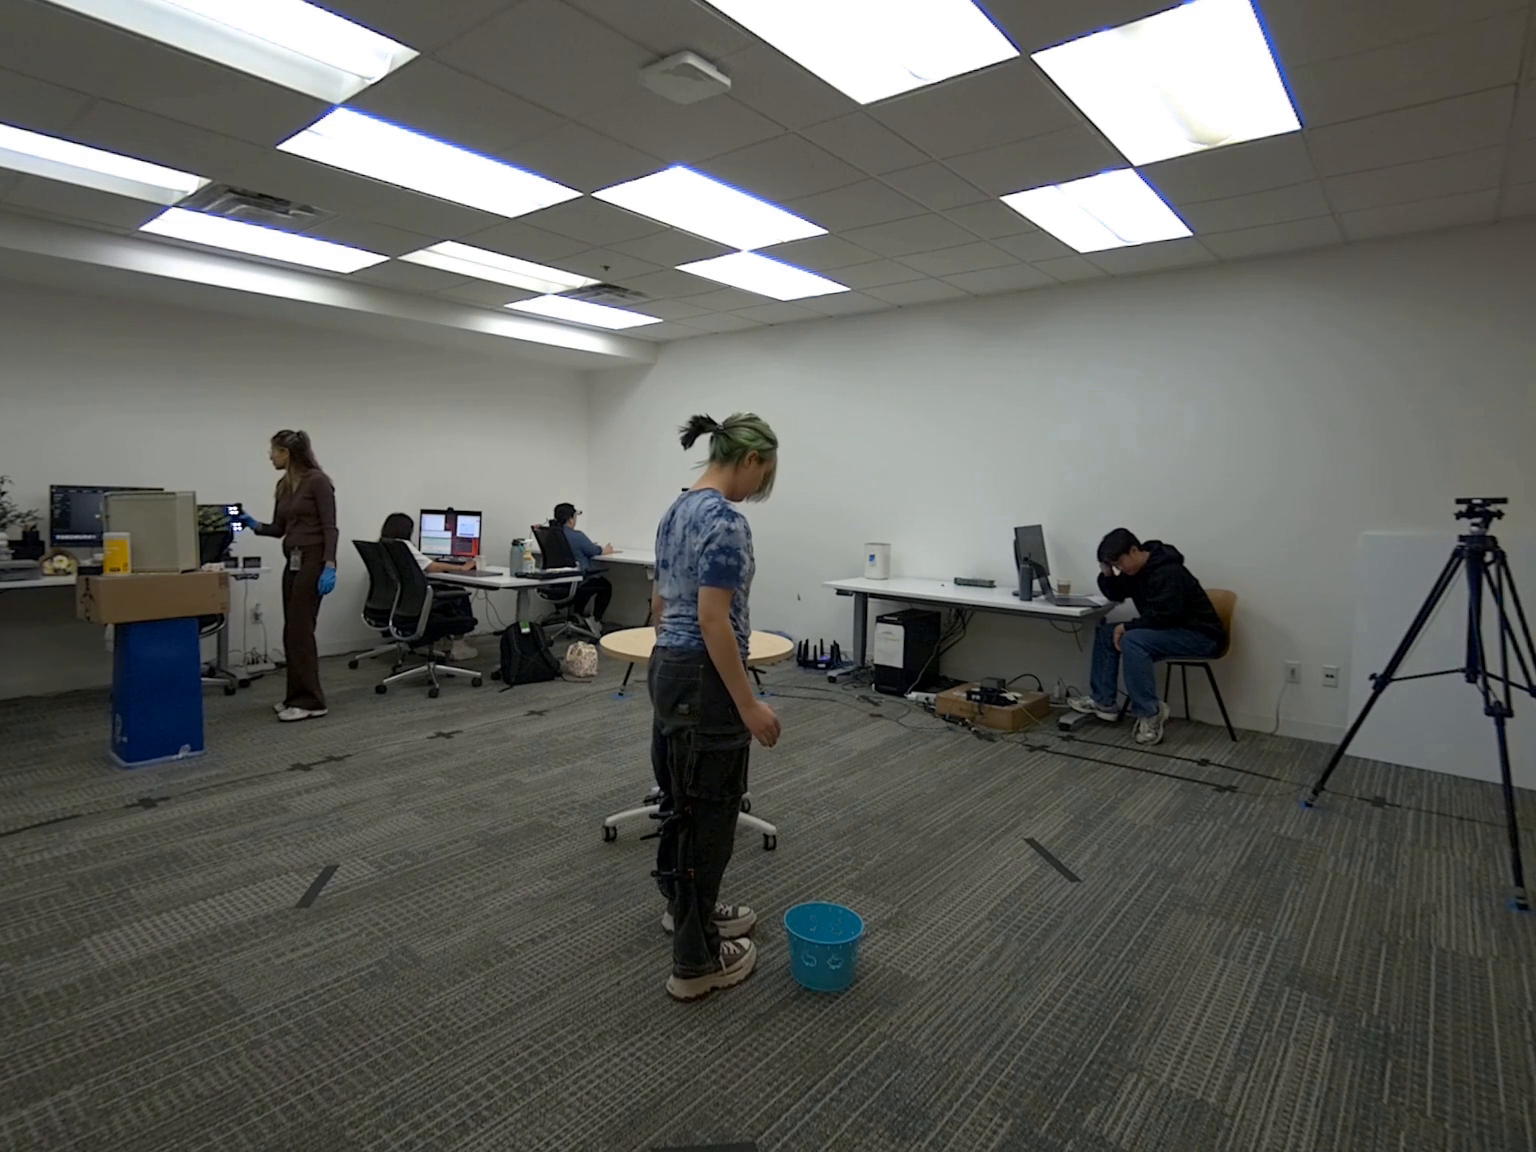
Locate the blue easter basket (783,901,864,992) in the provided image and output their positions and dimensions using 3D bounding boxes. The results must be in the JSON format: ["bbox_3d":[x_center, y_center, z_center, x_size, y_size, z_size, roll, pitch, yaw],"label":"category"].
[{"bbox_3d":[0.163,1.071,2.453,0.243,0.155,0.245,3,5,-2],"label":"blue easter basket"}]
